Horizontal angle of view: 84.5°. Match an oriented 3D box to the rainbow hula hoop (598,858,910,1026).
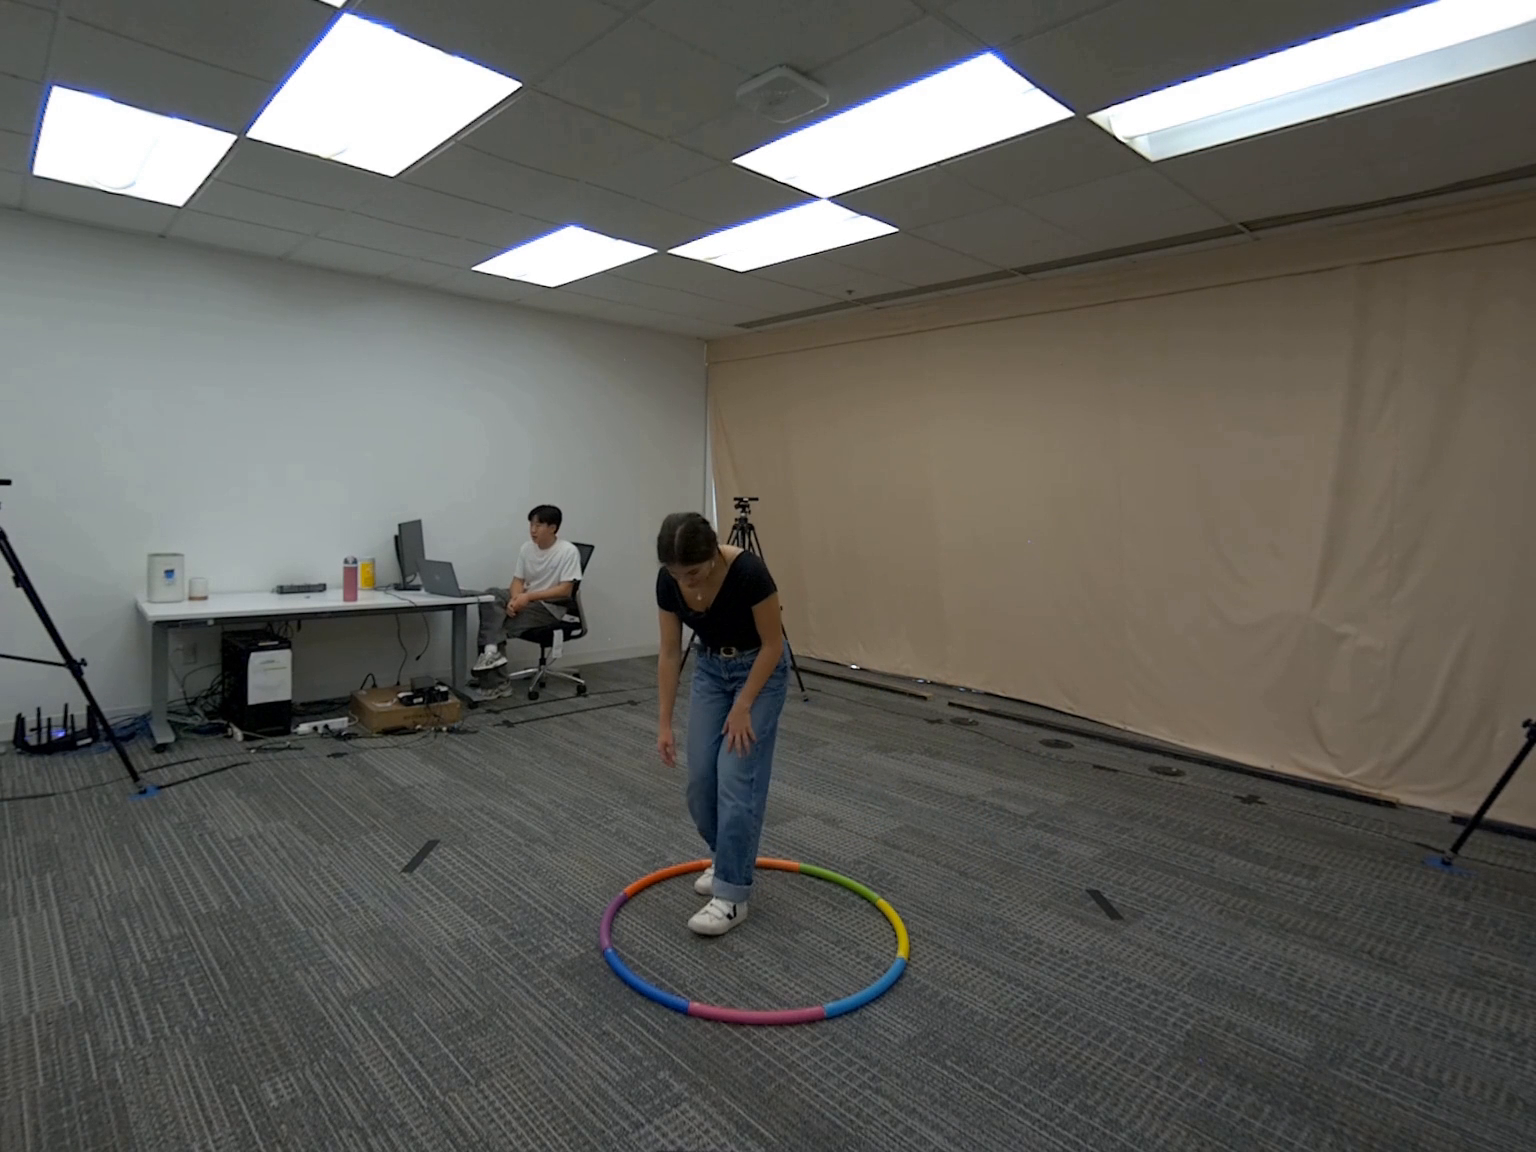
[{"bbox_3d":[-0.050,1.117,2.710,0.978,0.035,0.982,1,5,-1],"label":"rainbow hula hoop"}]
